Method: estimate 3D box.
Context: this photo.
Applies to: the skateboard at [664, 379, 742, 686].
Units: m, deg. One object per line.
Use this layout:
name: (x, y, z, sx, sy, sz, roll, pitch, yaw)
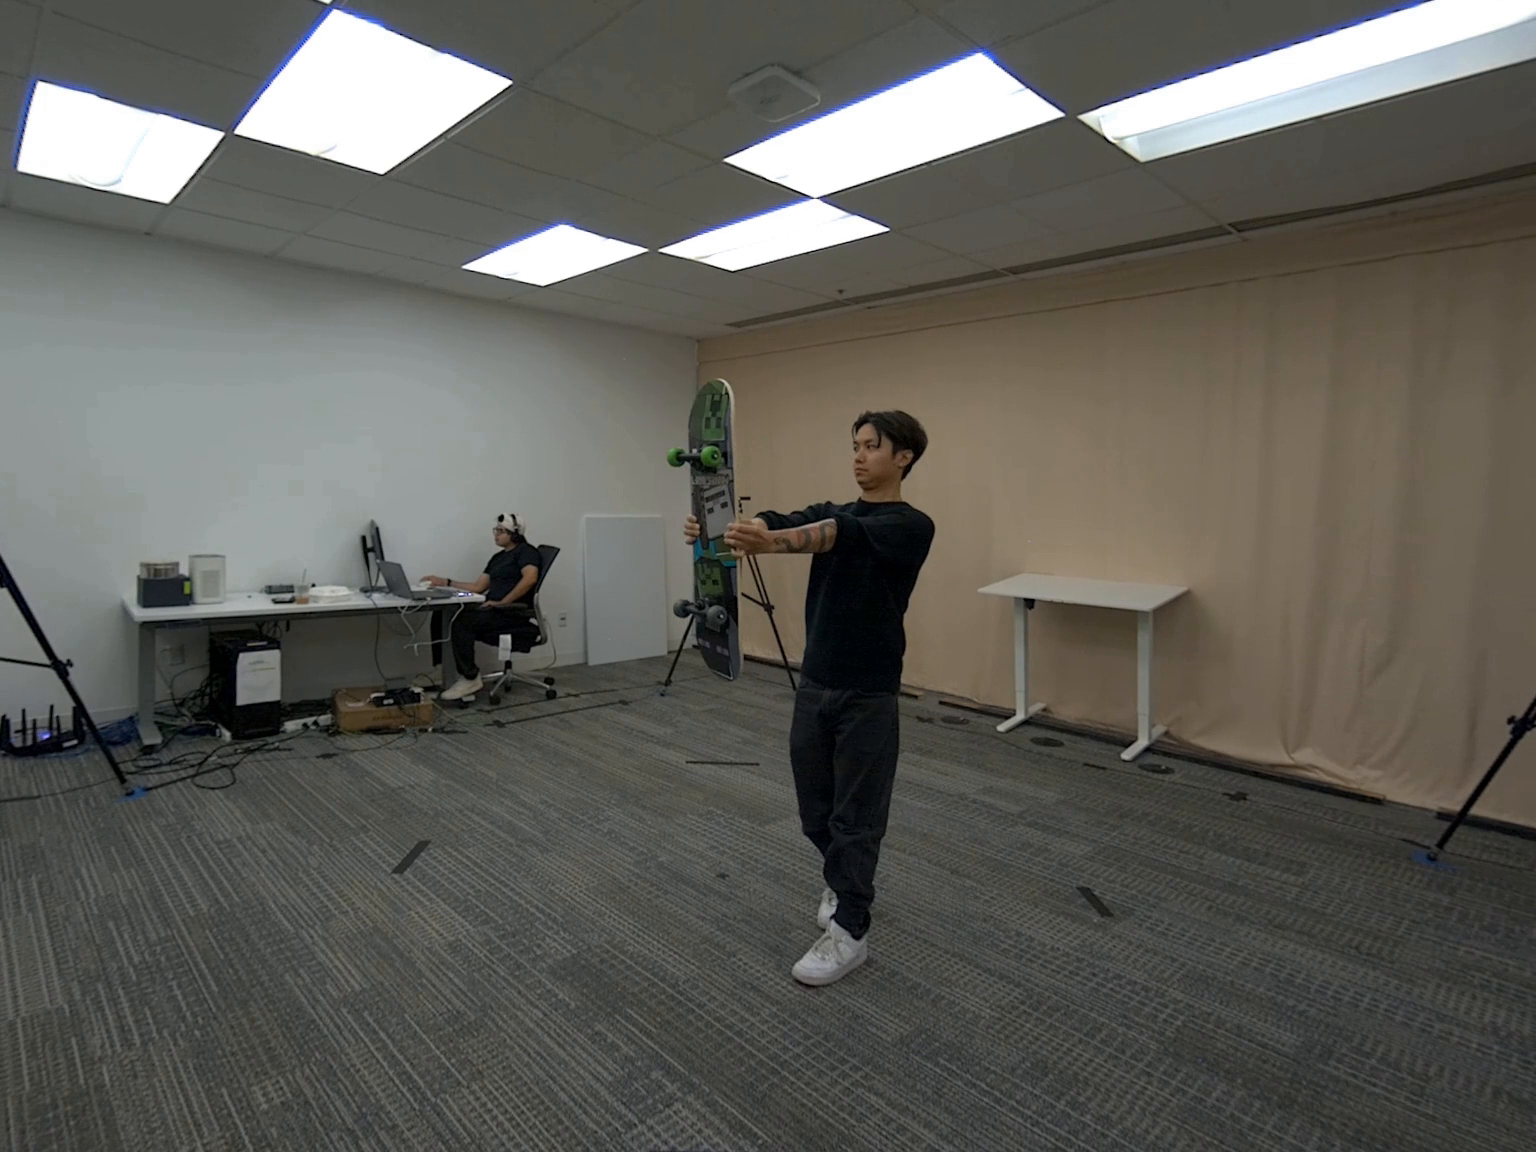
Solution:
skateboard: (-0.165, -0.103, 2.173, 0.108, 0.781, 0.198, -7, 9, -39)
